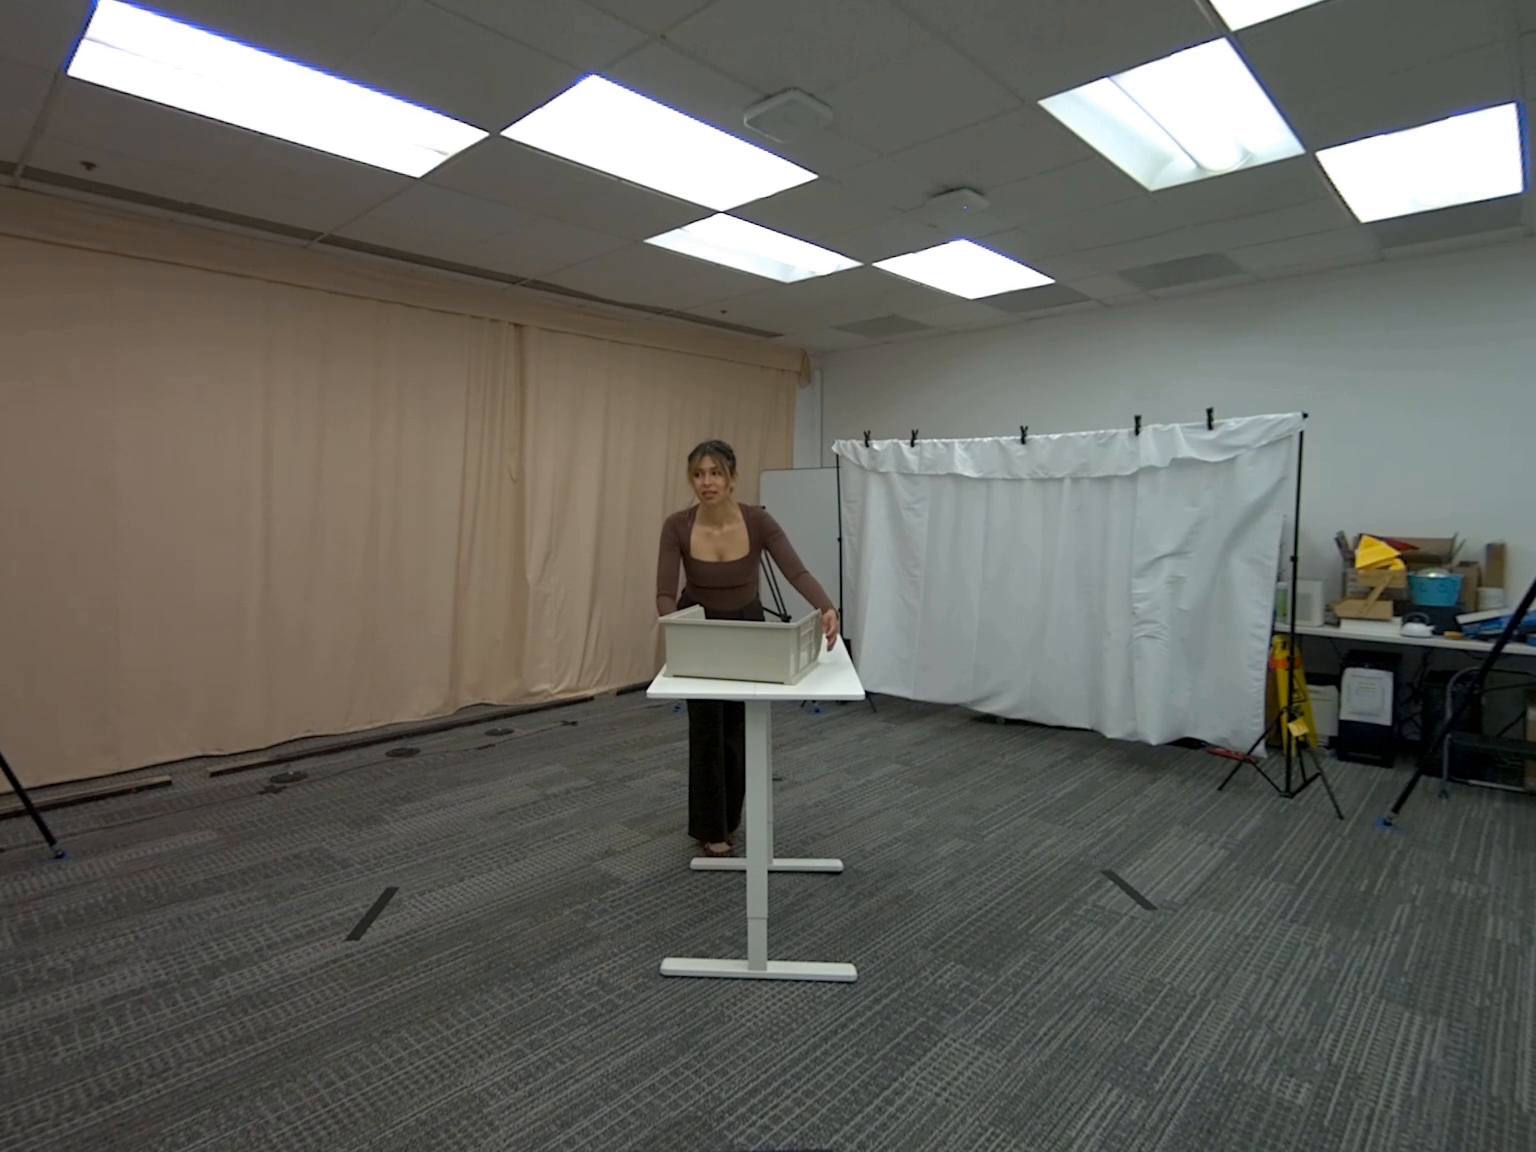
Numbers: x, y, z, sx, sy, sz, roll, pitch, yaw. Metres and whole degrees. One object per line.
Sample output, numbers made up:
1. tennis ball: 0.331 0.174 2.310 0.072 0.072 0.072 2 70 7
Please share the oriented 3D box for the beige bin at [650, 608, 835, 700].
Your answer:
1. beige bin: -0.068 0.207 2.625 0.431 0.188 0.371 1 6 18
